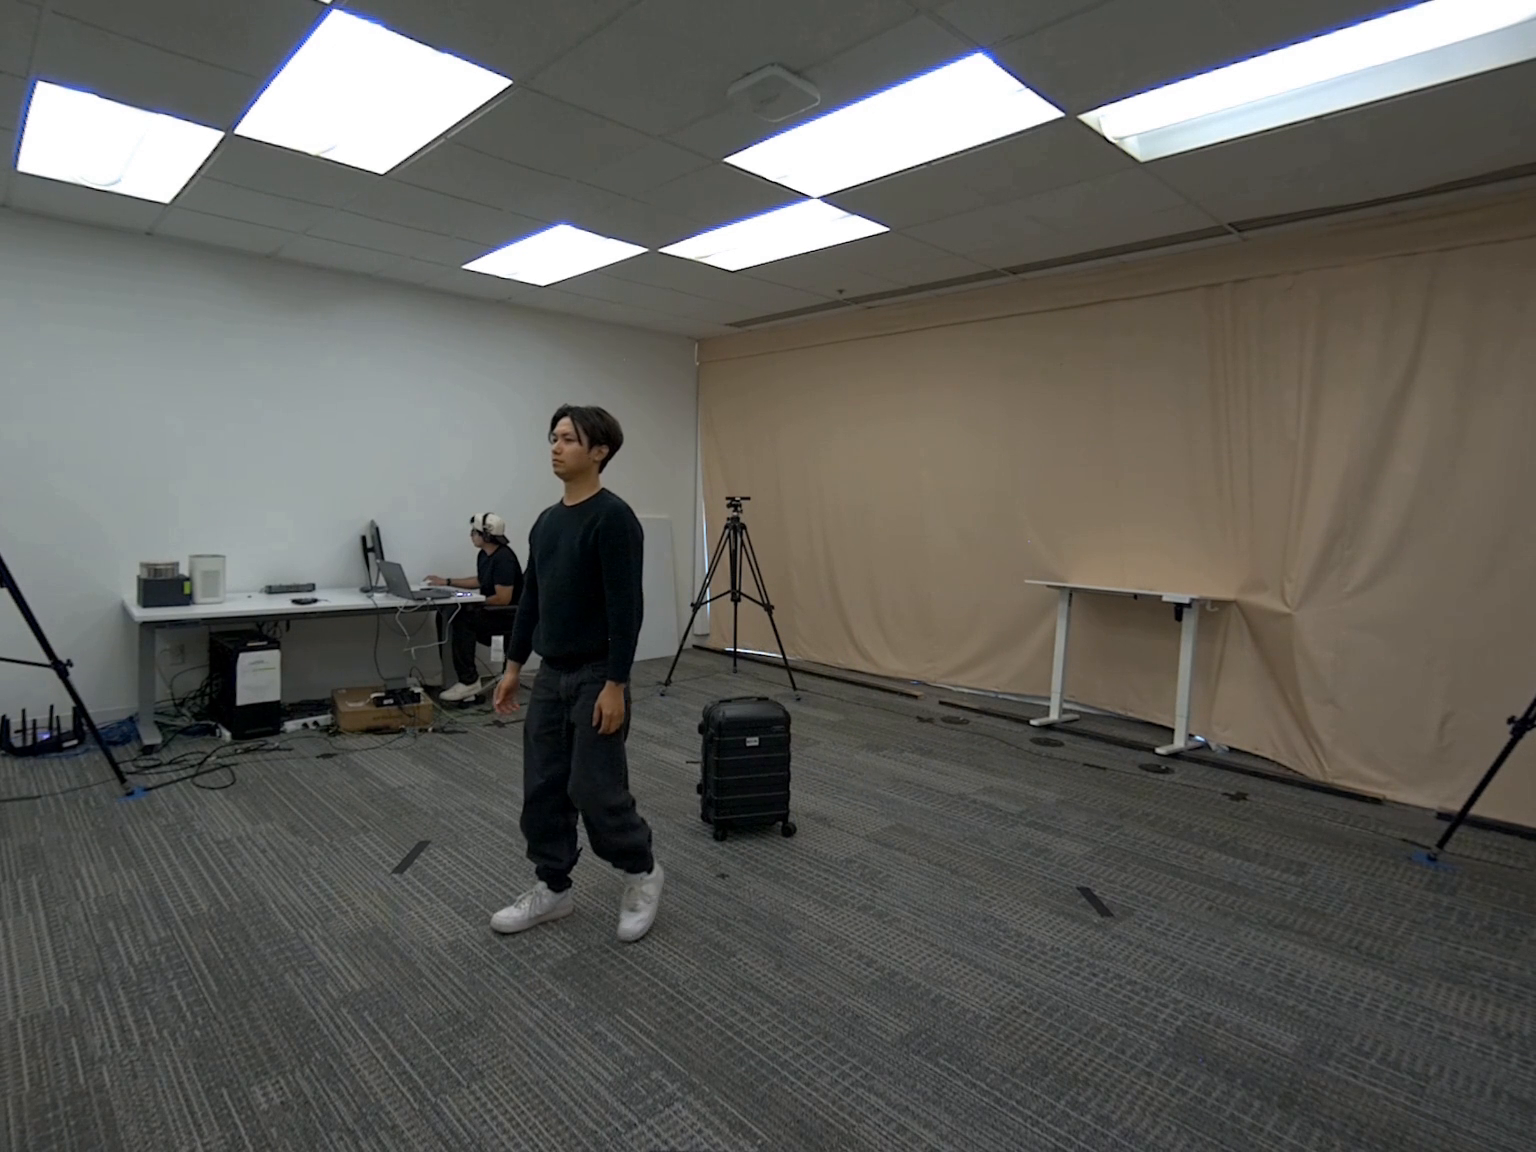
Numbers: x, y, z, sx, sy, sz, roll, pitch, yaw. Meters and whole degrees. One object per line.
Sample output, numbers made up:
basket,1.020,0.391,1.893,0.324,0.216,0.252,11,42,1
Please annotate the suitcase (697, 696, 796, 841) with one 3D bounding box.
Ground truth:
suitcase,-0.099,0.791,3.542,0.370,0.548,0.252,0,4,-18
